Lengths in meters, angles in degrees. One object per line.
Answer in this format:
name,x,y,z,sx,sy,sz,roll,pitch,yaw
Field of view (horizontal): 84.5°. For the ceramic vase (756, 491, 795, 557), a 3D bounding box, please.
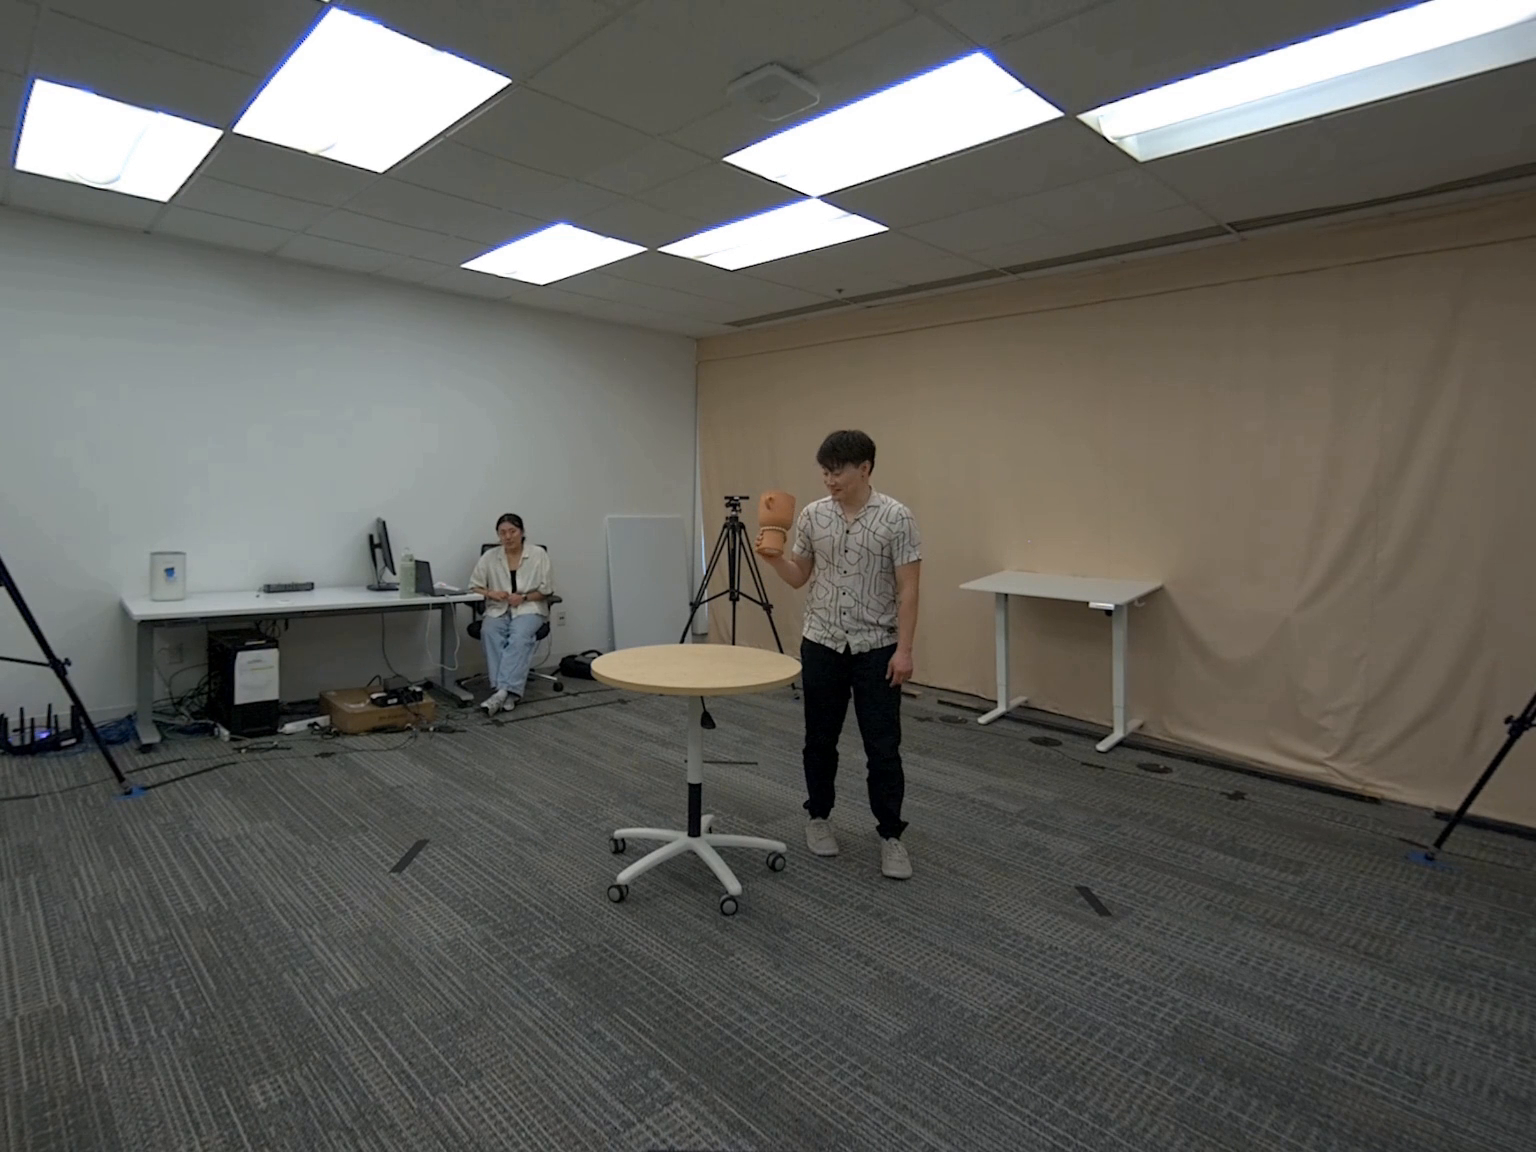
ceramic vase,0.014,-0.197,3.184,0.156,0.222,0.136,15,-16,-23
